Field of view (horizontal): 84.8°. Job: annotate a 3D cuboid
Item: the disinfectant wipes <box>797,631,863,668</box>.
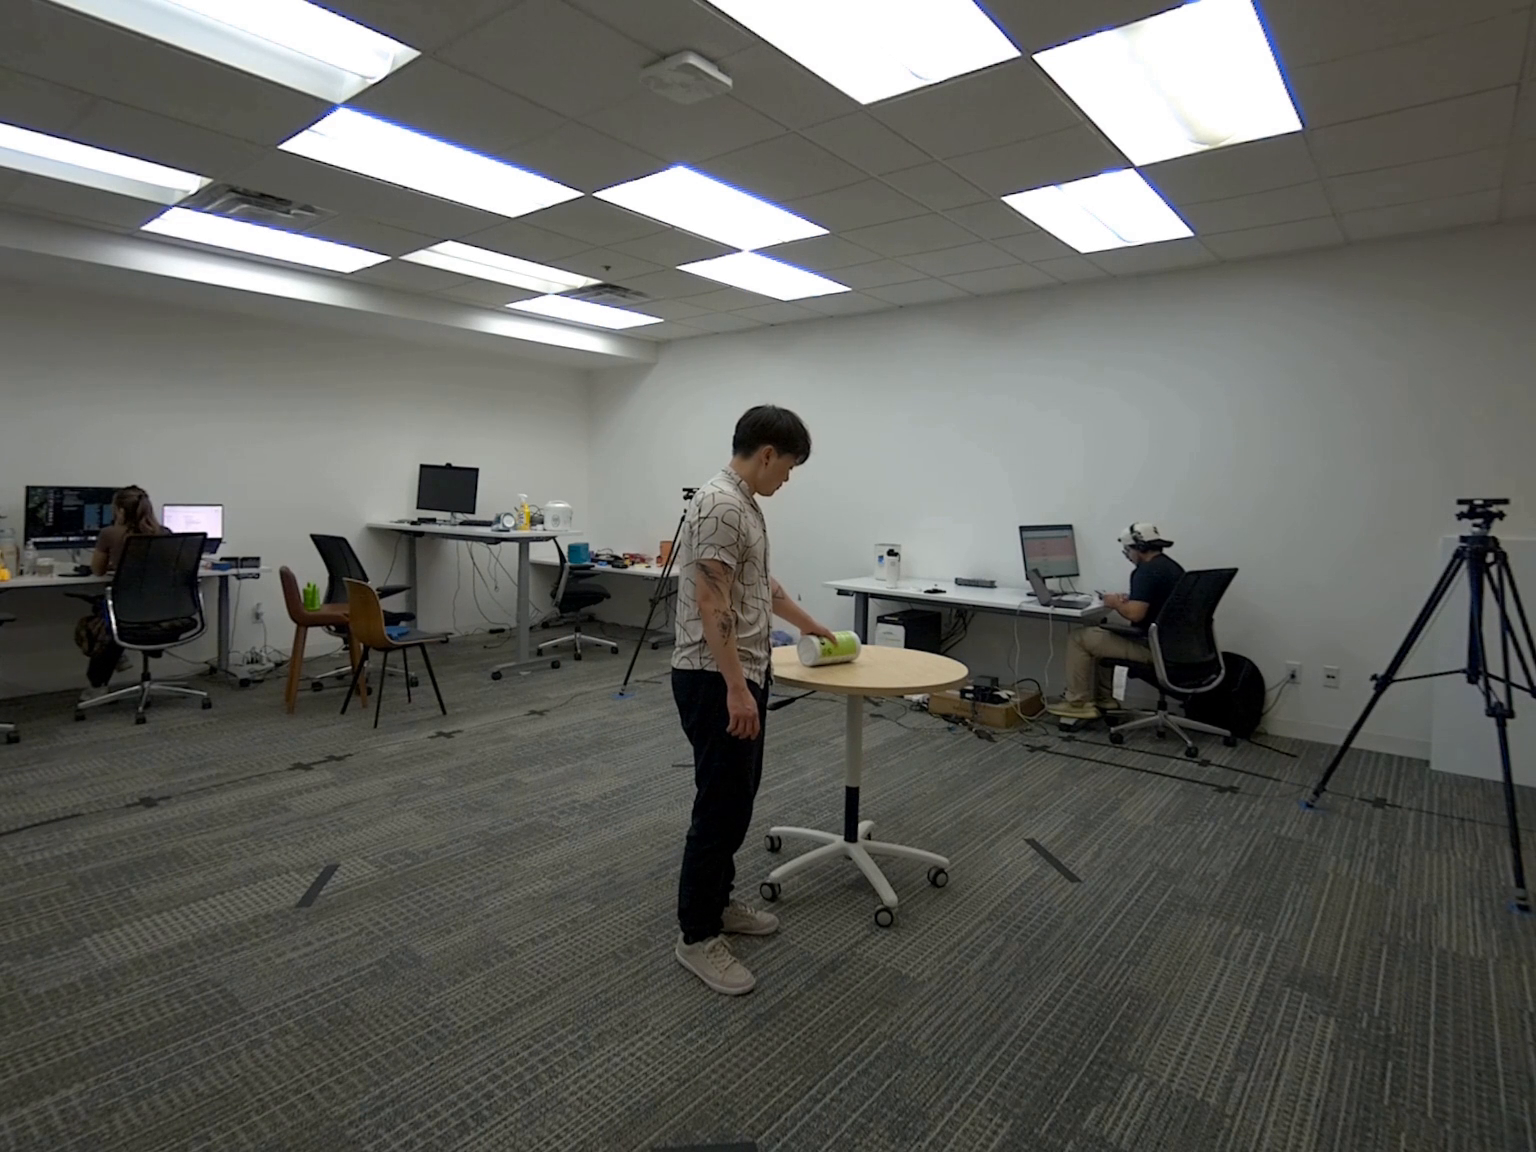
[{"bbox_3d":[0.208,0.251,2.999,0.211,0.117,0.121,-3,6,-34],"label":"disinfectant wipes"}]
